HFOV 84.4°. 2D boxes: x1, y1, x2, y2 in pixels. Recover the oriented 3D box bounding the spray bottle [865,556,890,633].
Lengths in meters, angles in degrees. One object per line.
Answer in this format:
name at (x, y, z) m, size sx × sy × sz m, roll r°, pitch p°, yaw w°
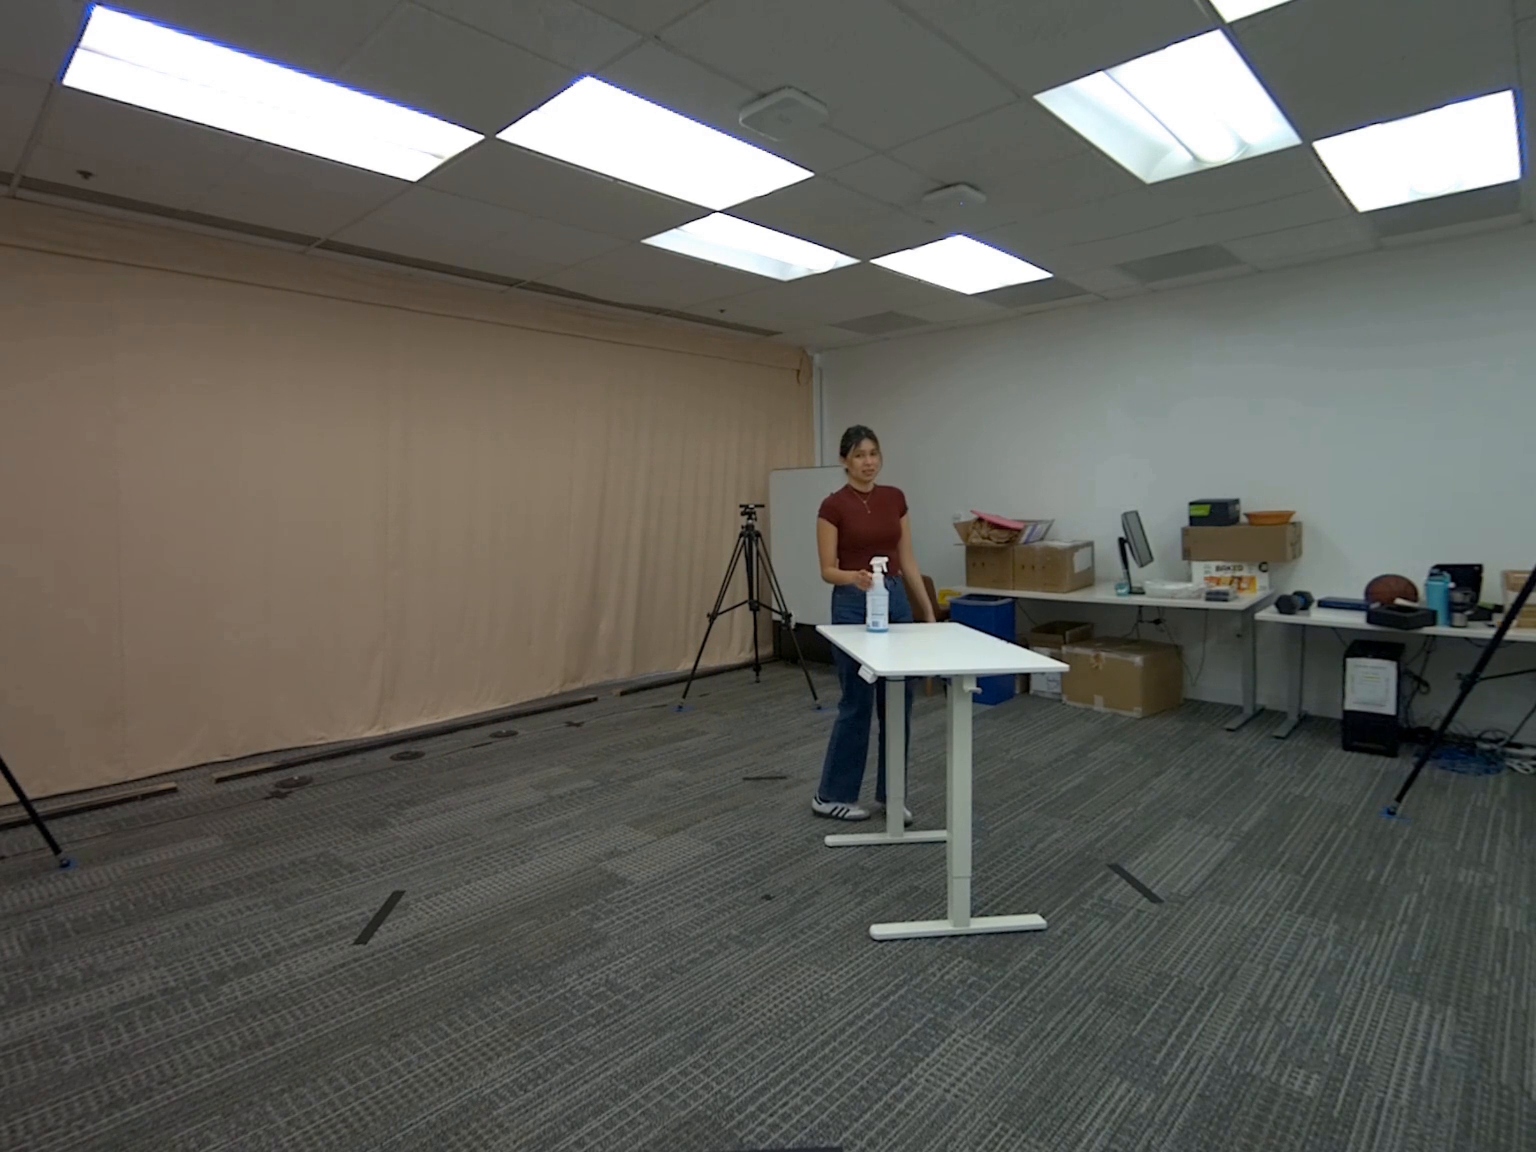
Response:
spray bottle at (0.429, 0.074, 3.330) m, size 0.086 × 0.296 × 0.091 m, roll 0°, pitch 5°, yaw -6°
